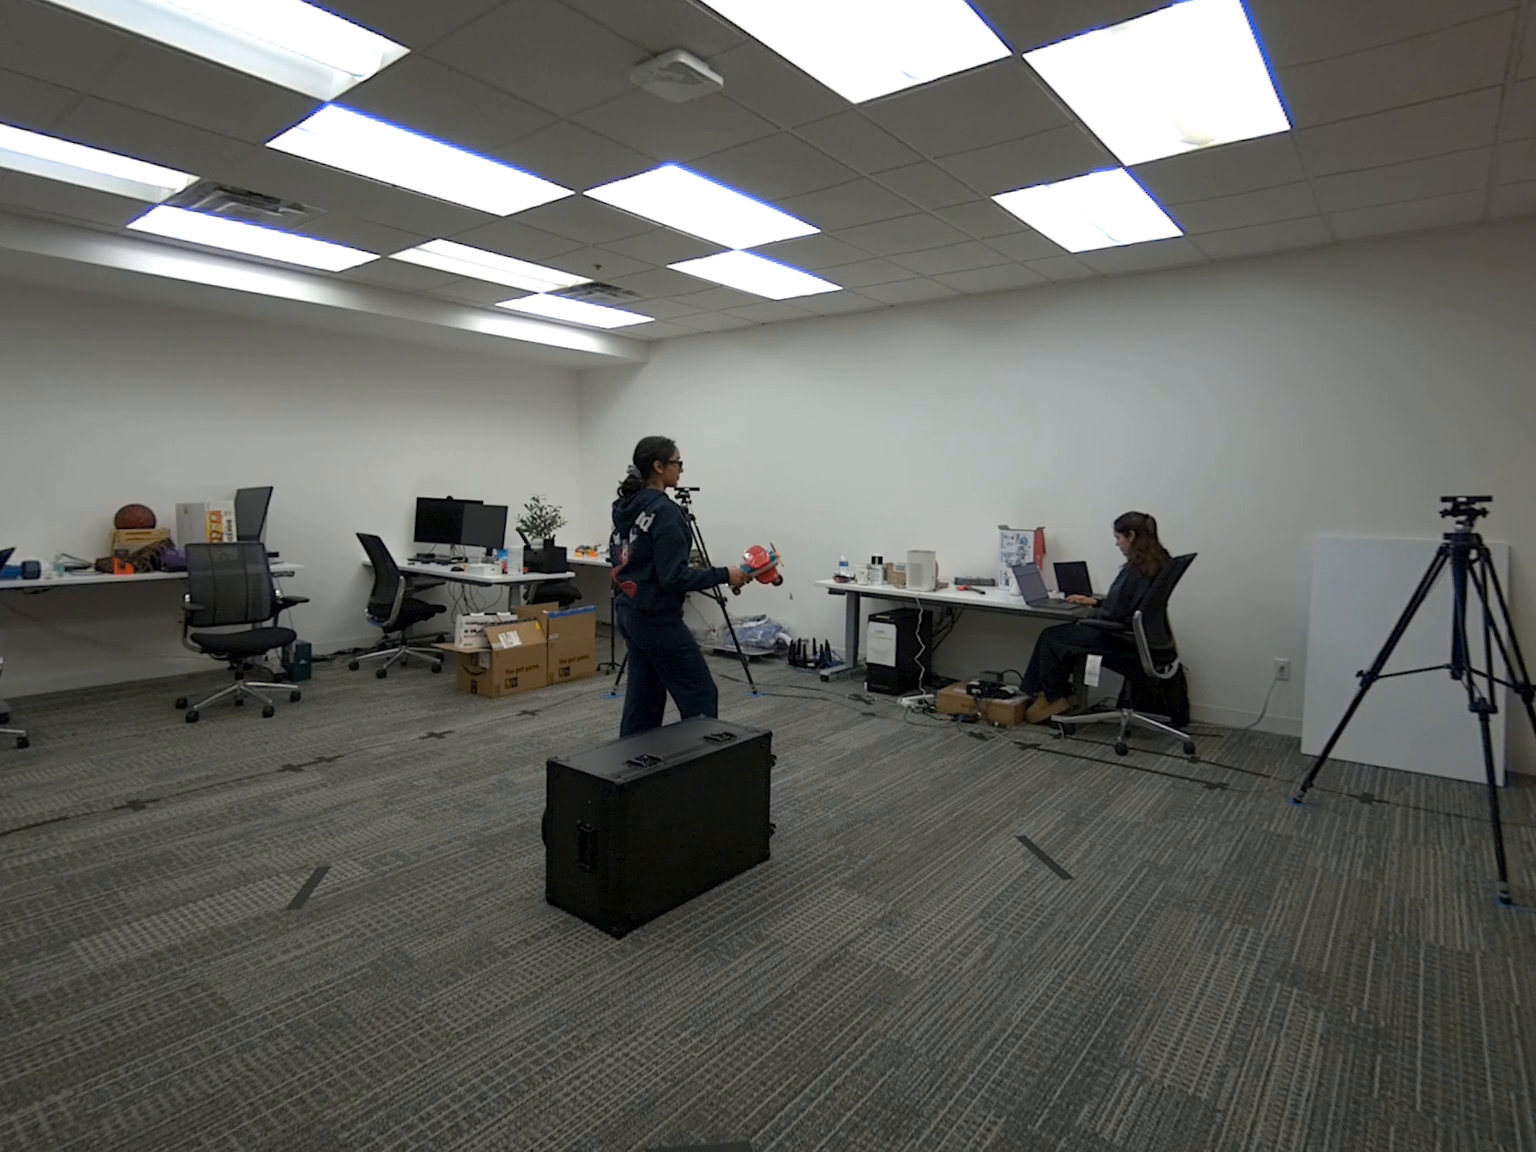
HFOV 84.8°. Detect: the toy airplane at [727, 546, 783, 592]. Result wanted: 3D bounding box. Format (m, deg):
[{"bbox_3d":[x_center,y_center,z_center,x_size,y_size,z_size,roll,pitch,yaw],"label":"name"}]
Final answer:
[{"bbox_3d":[-0.063,-0.015,3.641,0.255,0.153,0.260,-25,20,-34],"label":"toy airplane"}]
